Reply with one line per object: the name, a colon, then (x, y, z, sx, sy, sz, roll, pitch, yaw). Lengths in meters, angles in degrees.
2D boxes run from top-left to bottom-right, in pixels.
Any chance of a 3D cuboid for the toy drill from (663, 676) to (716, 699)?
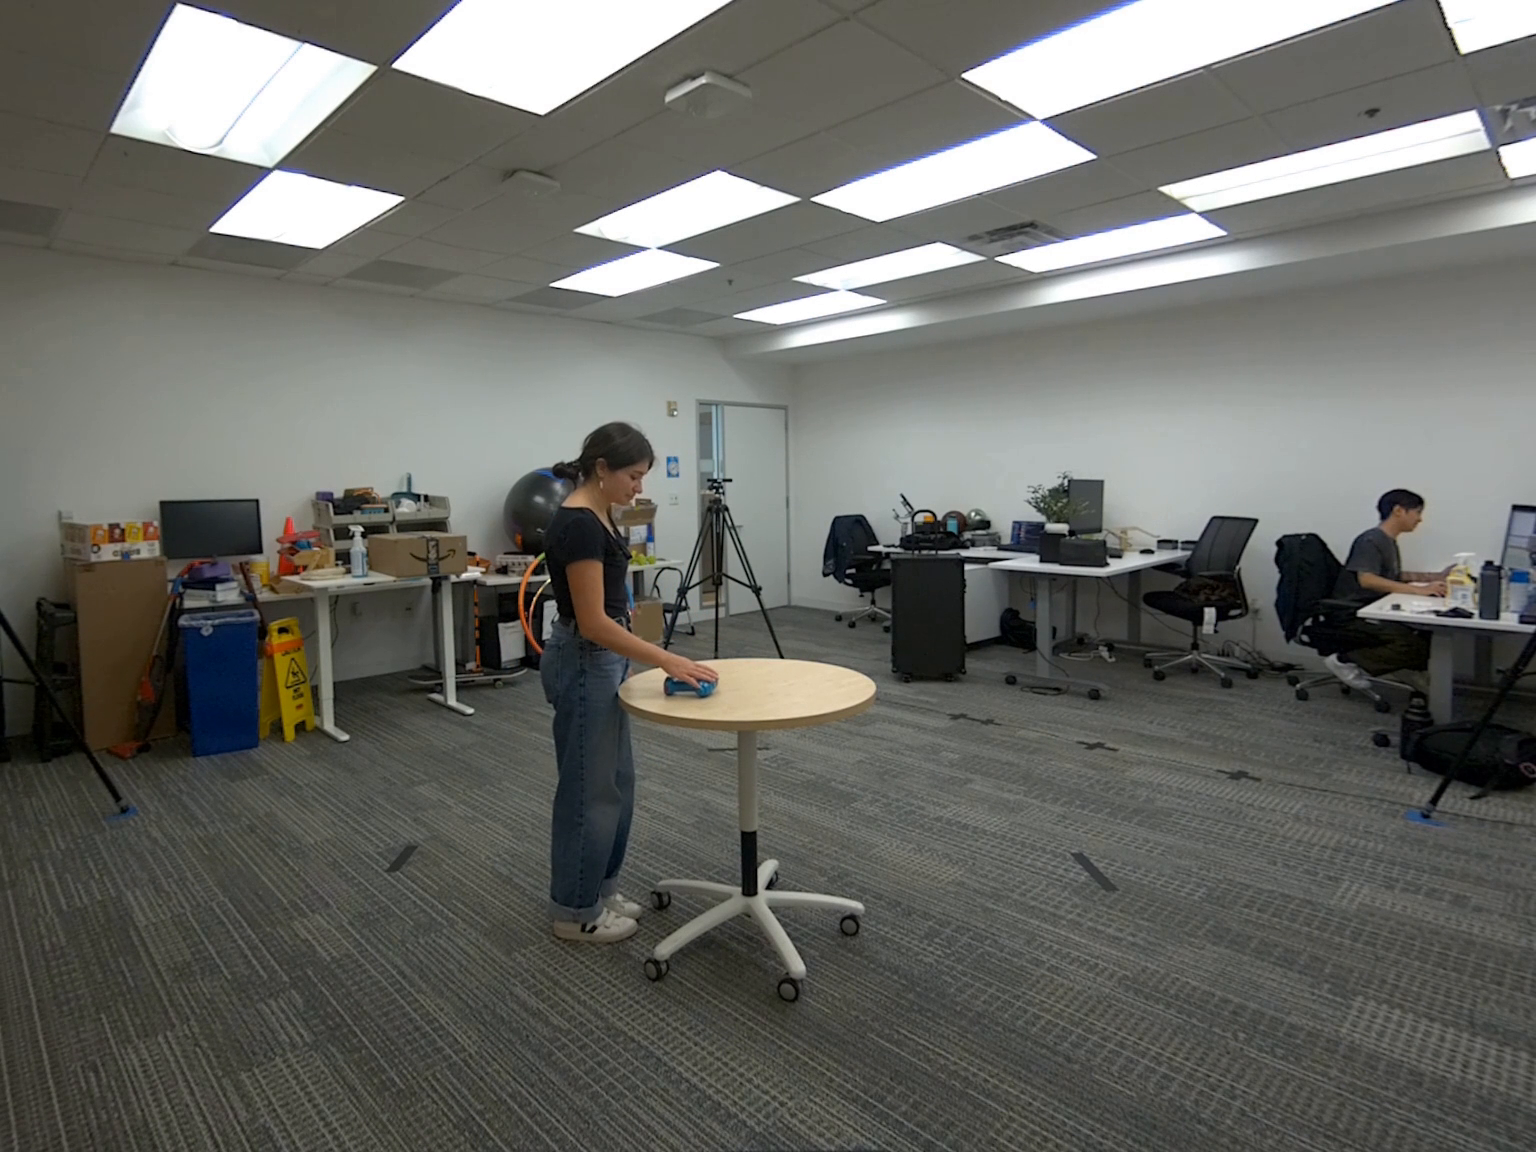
toy drill: (-0.214, 0.309, 2.474, 0.147, 0.060, 0.170, 0, 15, 8)
